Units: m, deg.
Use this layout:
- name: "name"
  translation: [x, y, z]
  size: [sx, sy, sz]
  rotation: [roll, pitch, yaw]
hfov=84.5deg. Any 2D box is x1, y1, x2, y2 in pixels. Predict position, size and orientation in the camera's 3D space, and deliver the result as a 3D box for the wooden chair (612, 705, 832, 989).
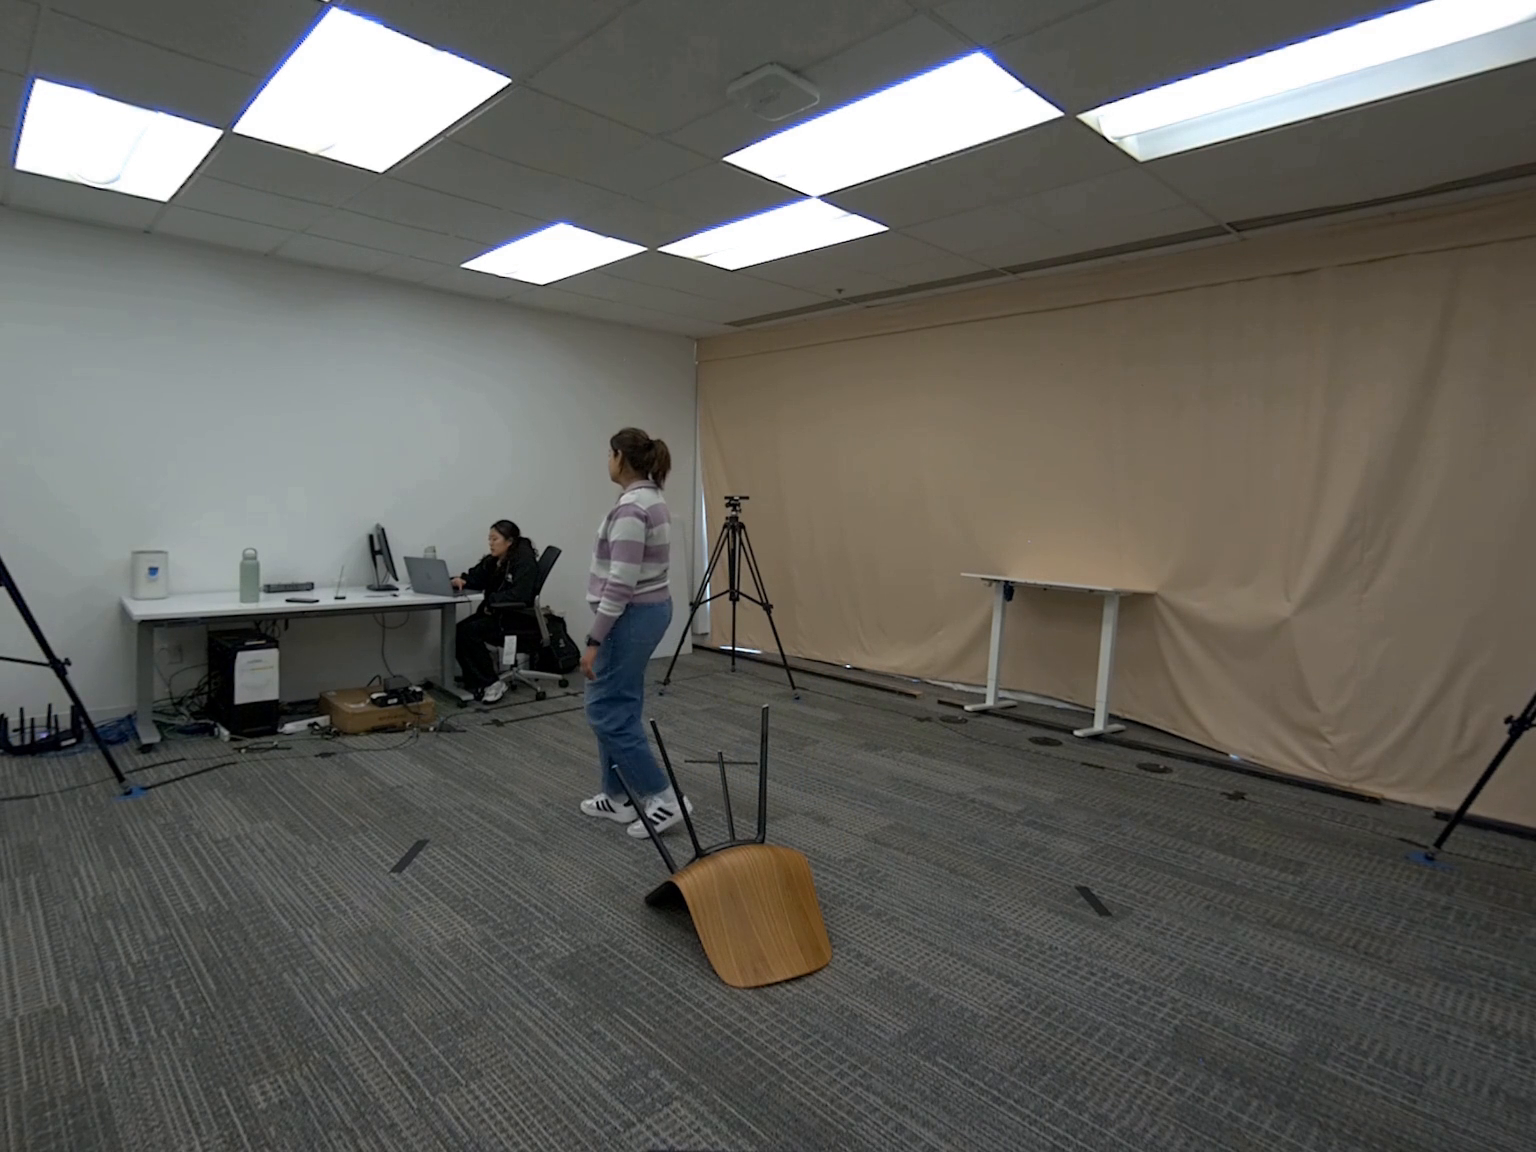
- name: "wooden chair"
  translation: [-0.169, 0.957, 2.842]
  size: [0.468, 0.900, 0.520]
  rotation: [-1, -36, -30]
